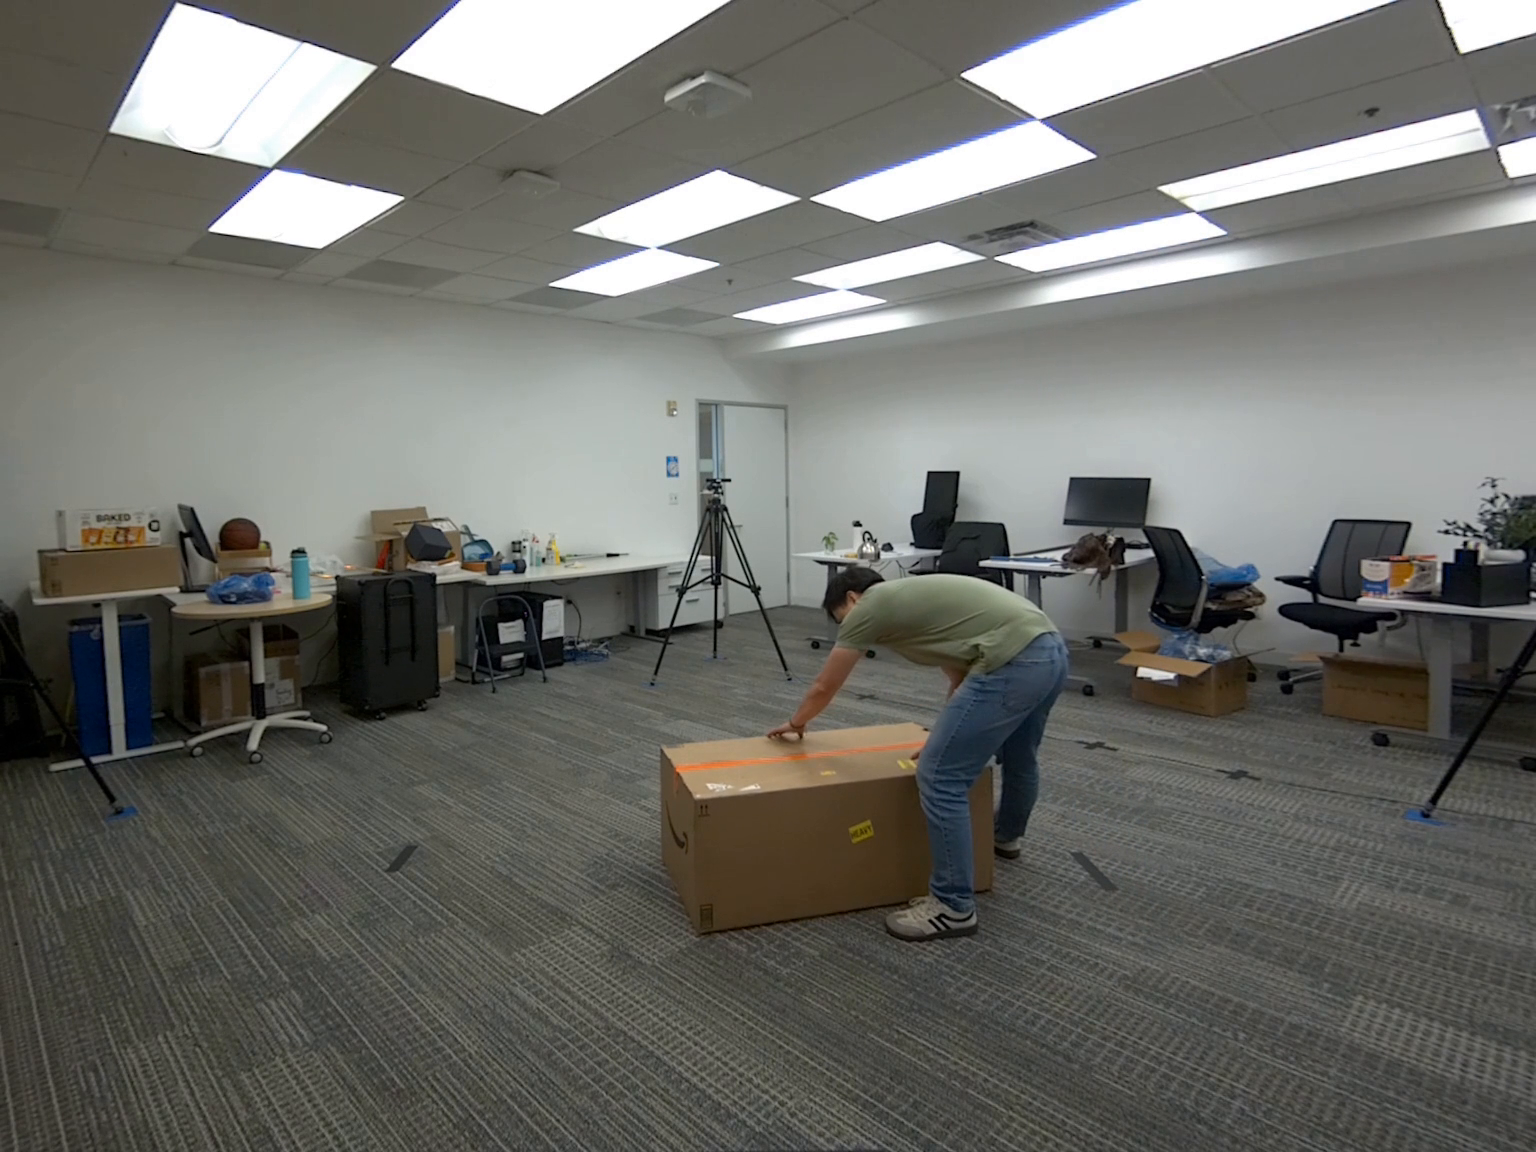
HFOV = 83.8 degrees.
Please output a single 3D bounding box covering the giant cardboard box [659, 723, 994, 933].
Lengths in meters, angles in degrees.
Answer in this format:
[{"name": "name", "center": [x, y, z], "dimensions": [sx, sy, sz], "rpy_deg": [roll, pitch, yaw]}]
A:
[{"name": "giant cardboard box", "center": [0.175, 0.831, 3.005], "dimensions": [1.011, 0.424, 0.588], "rpy_deg": [-2, 6, -16]}]
